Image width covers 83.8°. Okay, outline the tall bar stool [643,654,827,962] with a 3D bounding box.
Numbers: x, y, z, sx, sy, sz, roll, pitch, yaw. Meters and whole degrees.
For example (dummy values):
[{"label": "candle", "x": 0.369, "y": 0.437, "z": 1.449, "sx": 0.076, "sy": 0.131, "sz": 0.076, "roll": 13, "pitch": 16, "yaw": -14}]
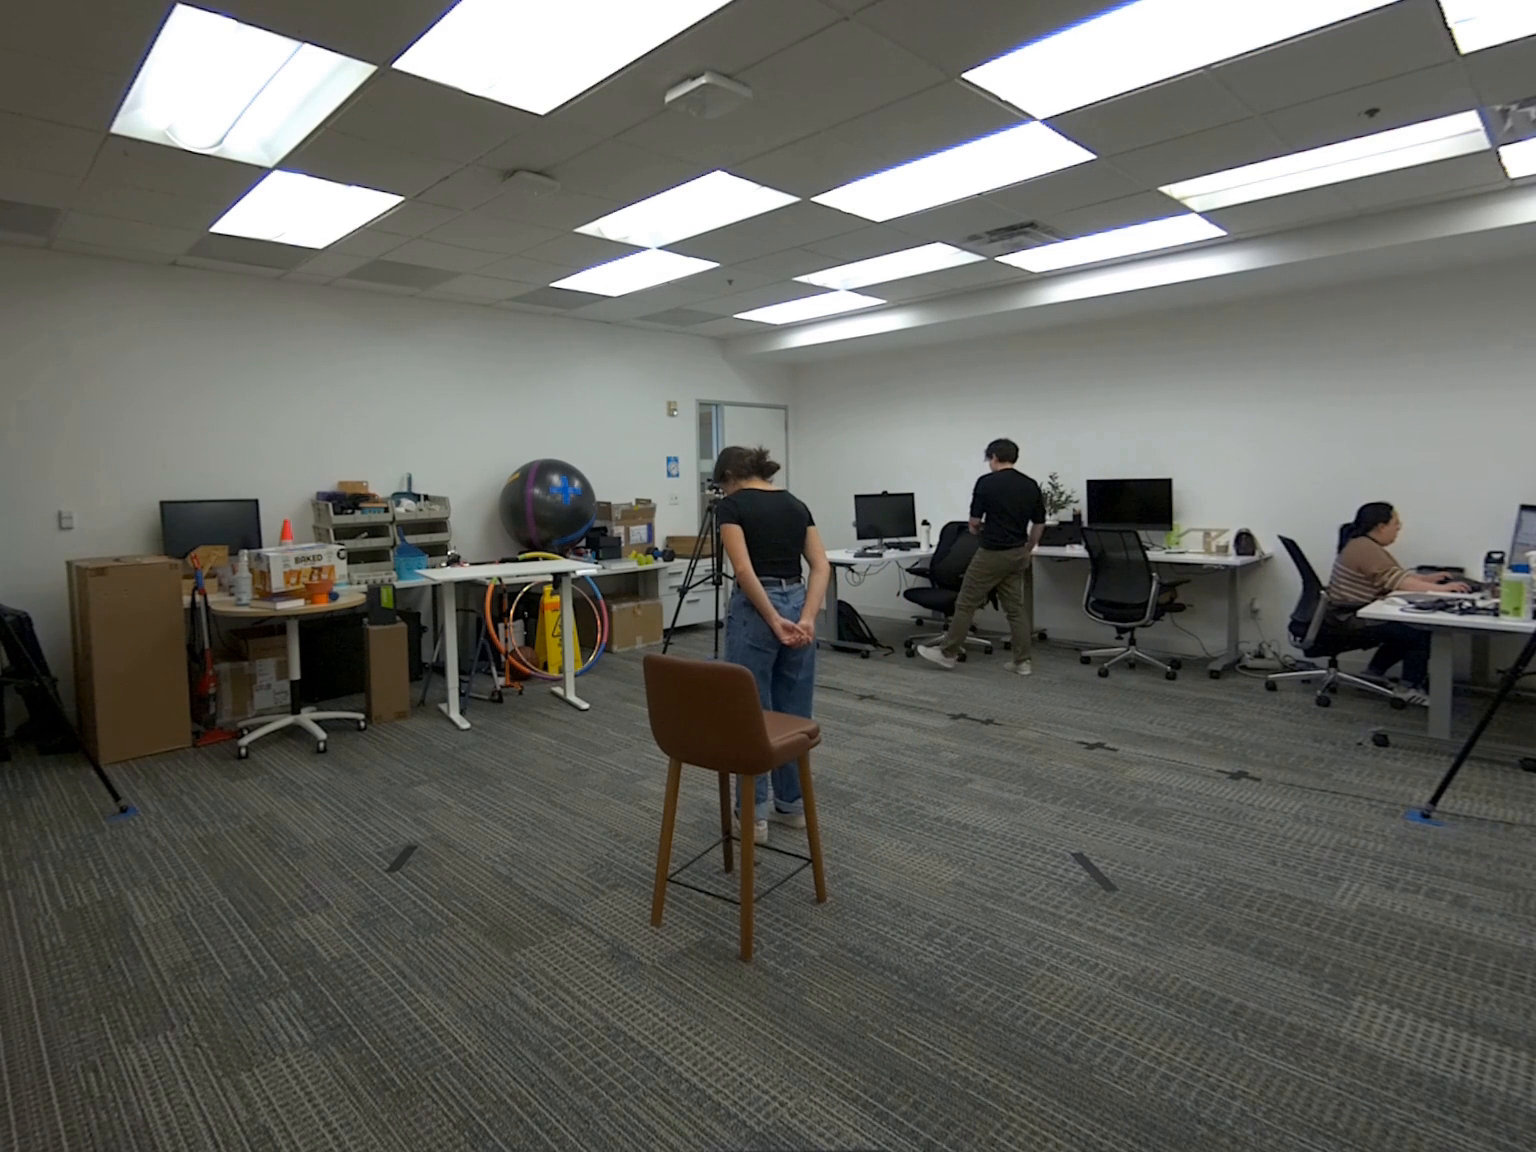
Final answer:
[{"label": "tall bar stool", "x": -0.105, "y": 0.654, "z": 2.734, "sx": 0.470, "sy": 0.885, "sz": 0.457, "roll": 2, "pitch": 7, "yaw": 35}]
